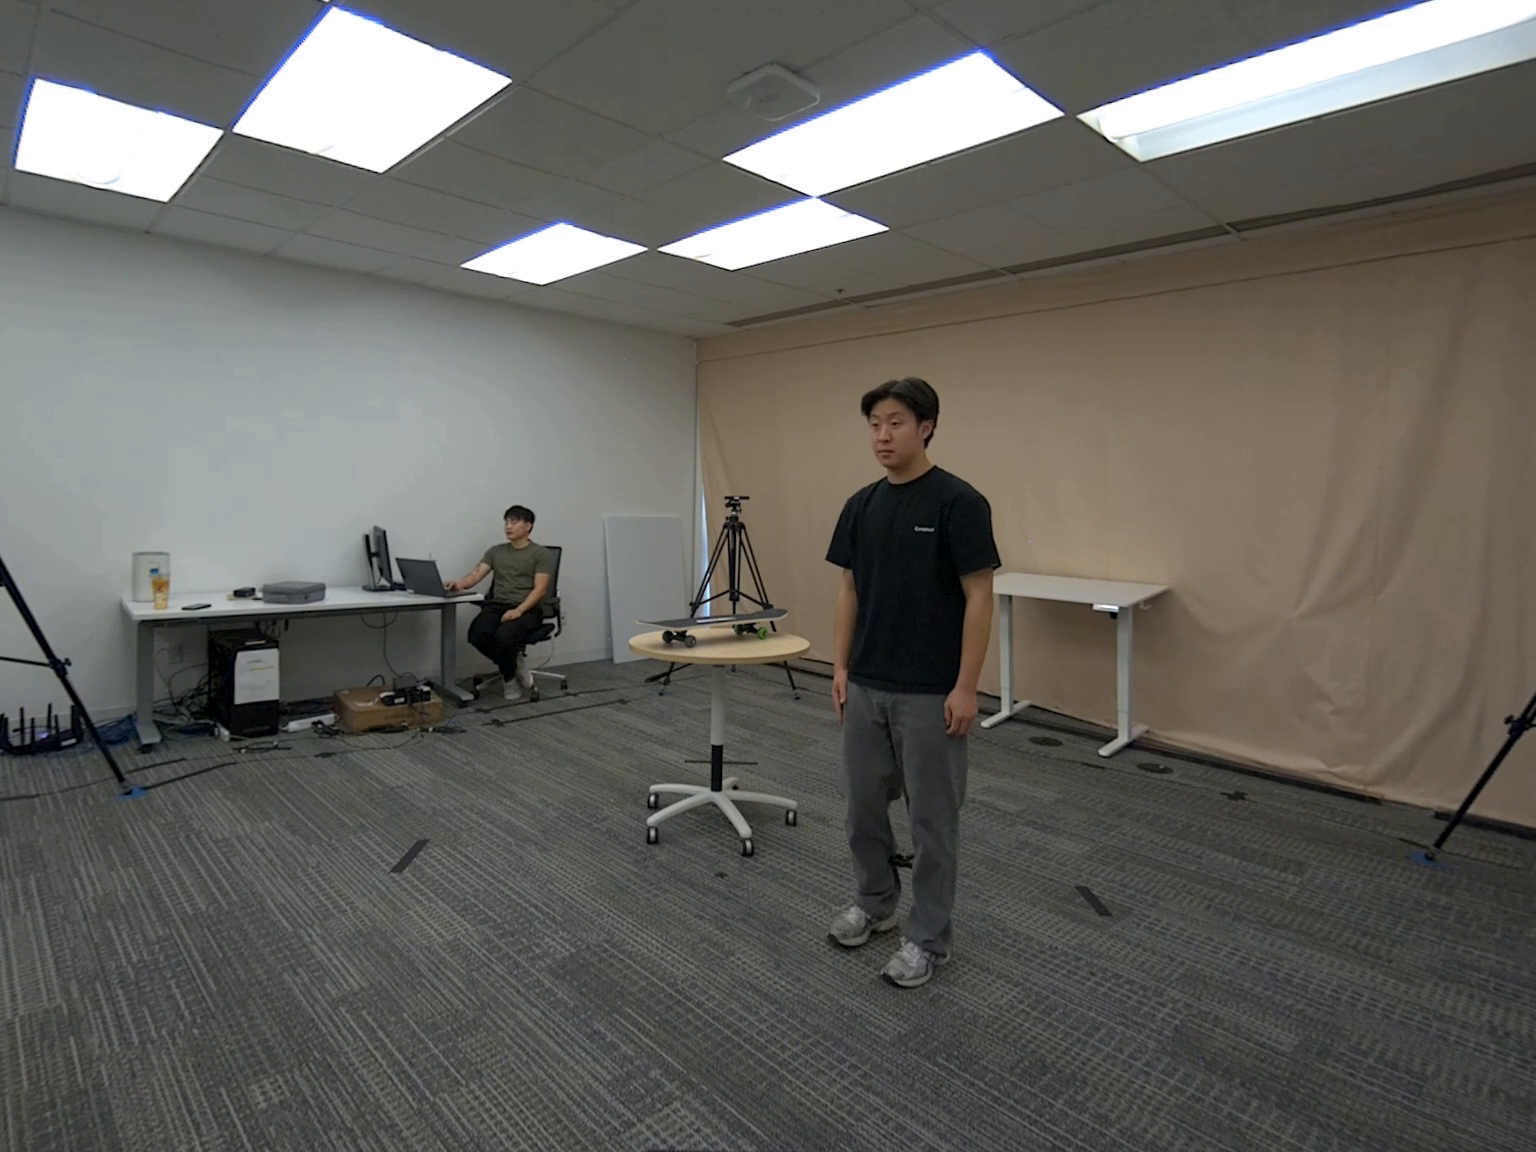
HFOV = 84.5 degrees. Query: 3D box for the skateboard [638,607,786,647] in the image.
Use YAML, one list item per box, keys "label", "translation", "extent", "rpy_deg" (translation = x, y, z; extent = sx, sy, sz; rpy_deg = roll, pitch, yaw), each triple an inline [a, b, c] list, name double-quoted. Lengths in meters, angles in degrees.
- label: "skateboard"
  translation: [-0.227, 0.224, 3.613]
  extent: [0.768, 0.110, 0.198]
  rpy_deg: [-3, 6, -40]
